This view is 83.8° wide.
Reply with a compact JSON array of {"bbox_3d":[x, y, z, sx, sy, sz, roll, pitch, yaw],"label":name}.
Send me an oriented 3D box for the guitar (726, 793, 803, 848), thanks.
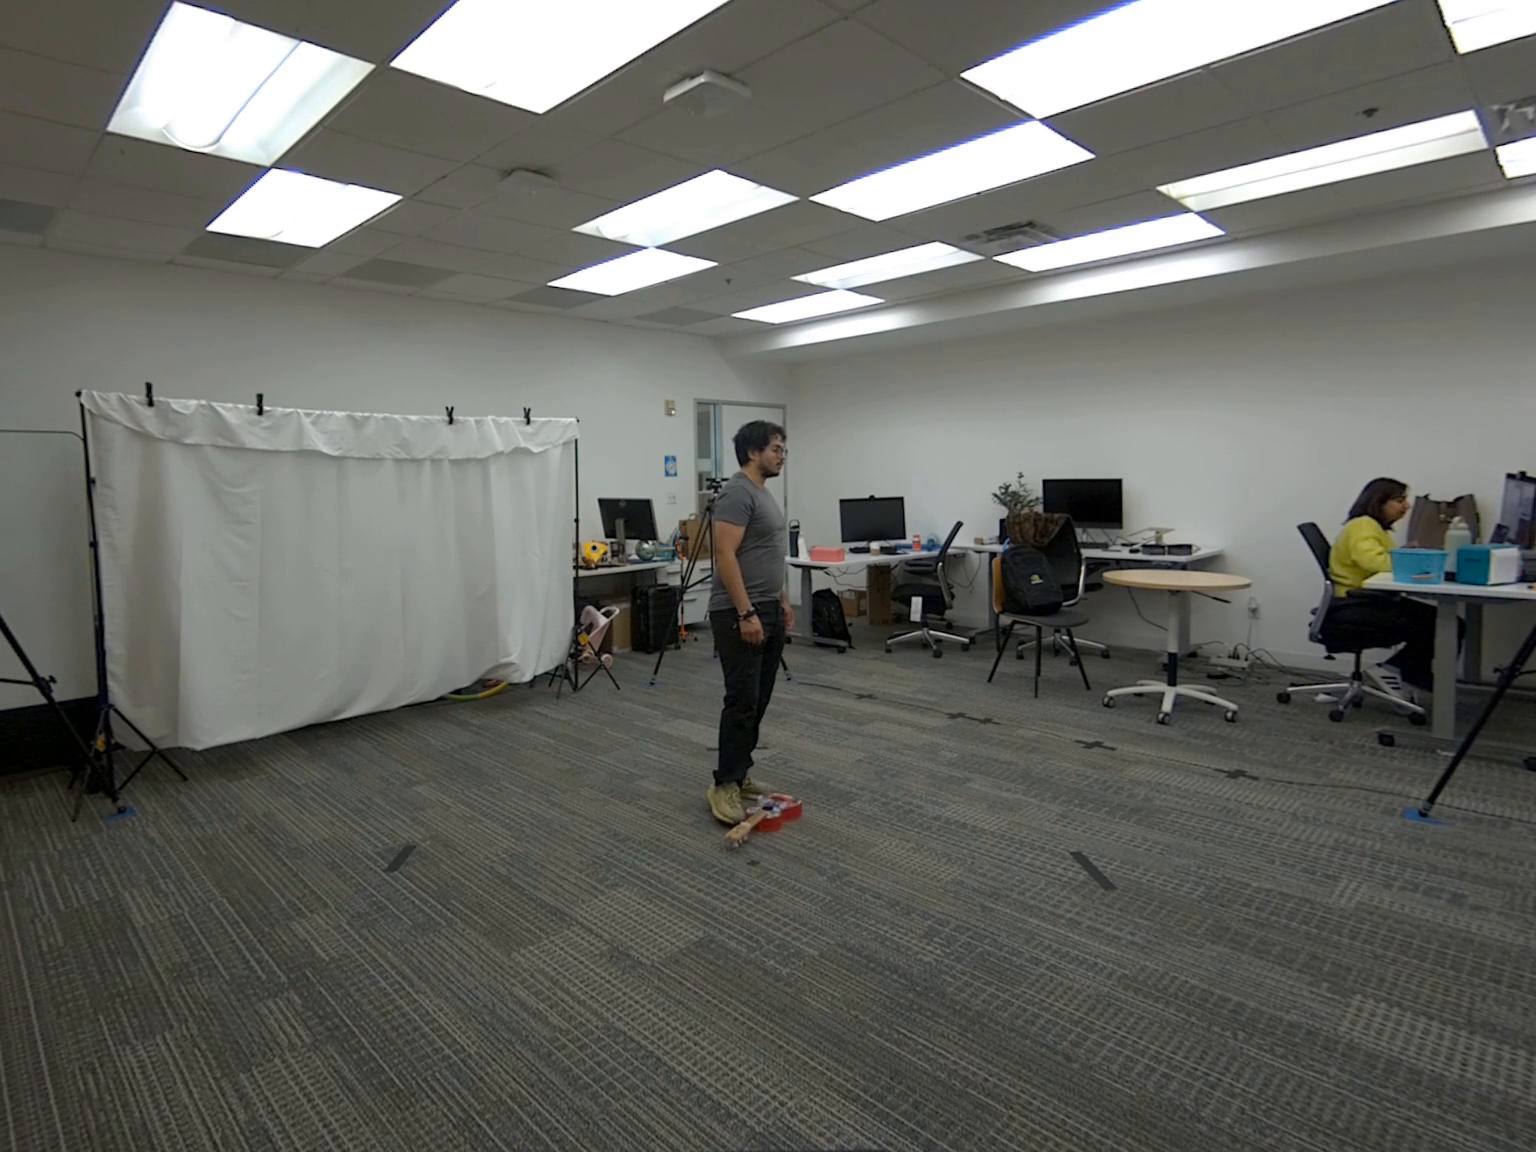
[{"bbox_3d":[-0.052,0.973,3.417,0.198,0.070,0.486,4,8,34],"label":"guitar"}]
